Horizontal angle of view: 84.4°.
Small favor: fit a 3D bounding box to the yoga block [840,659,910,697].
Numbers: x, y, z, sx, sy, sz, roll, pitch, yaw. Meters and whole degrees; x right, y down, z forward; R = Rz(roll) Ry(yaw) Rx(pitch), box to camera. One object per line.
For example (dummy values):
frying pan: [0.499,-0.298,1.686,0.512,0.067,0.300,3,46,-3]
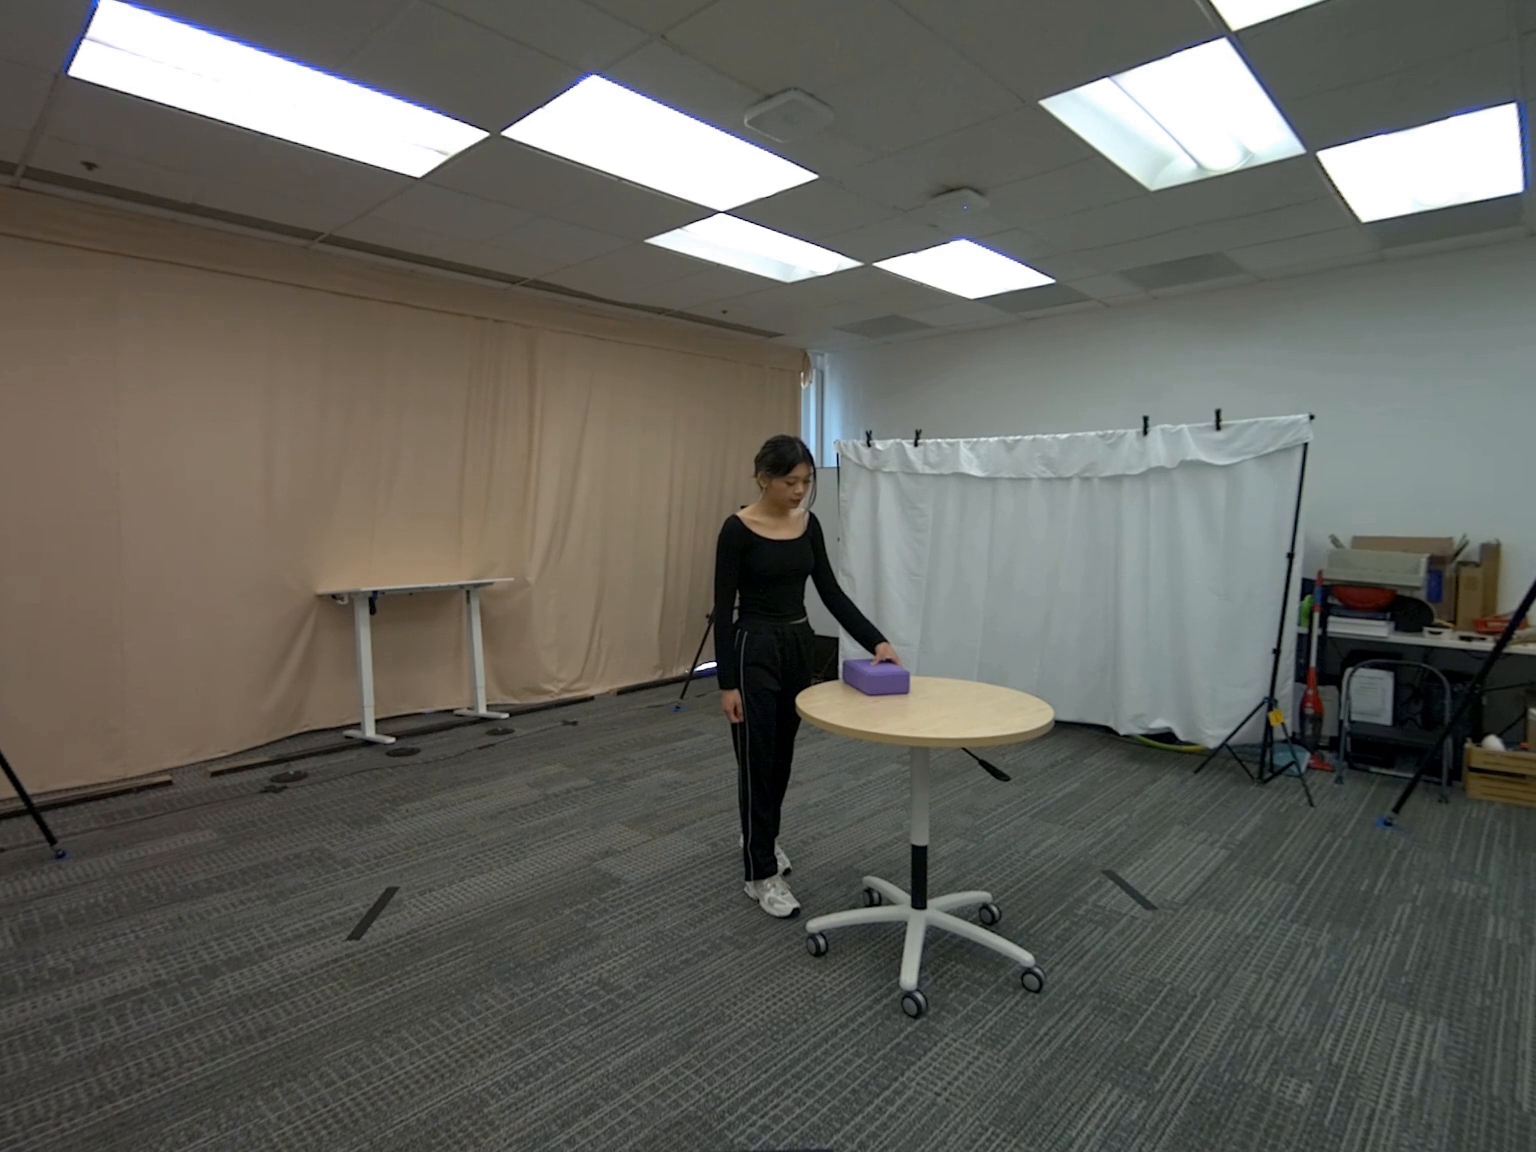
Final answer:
yoga block: [0.363,0.336,2.784,0.148,0.076,0.232,-1,5,-9]
